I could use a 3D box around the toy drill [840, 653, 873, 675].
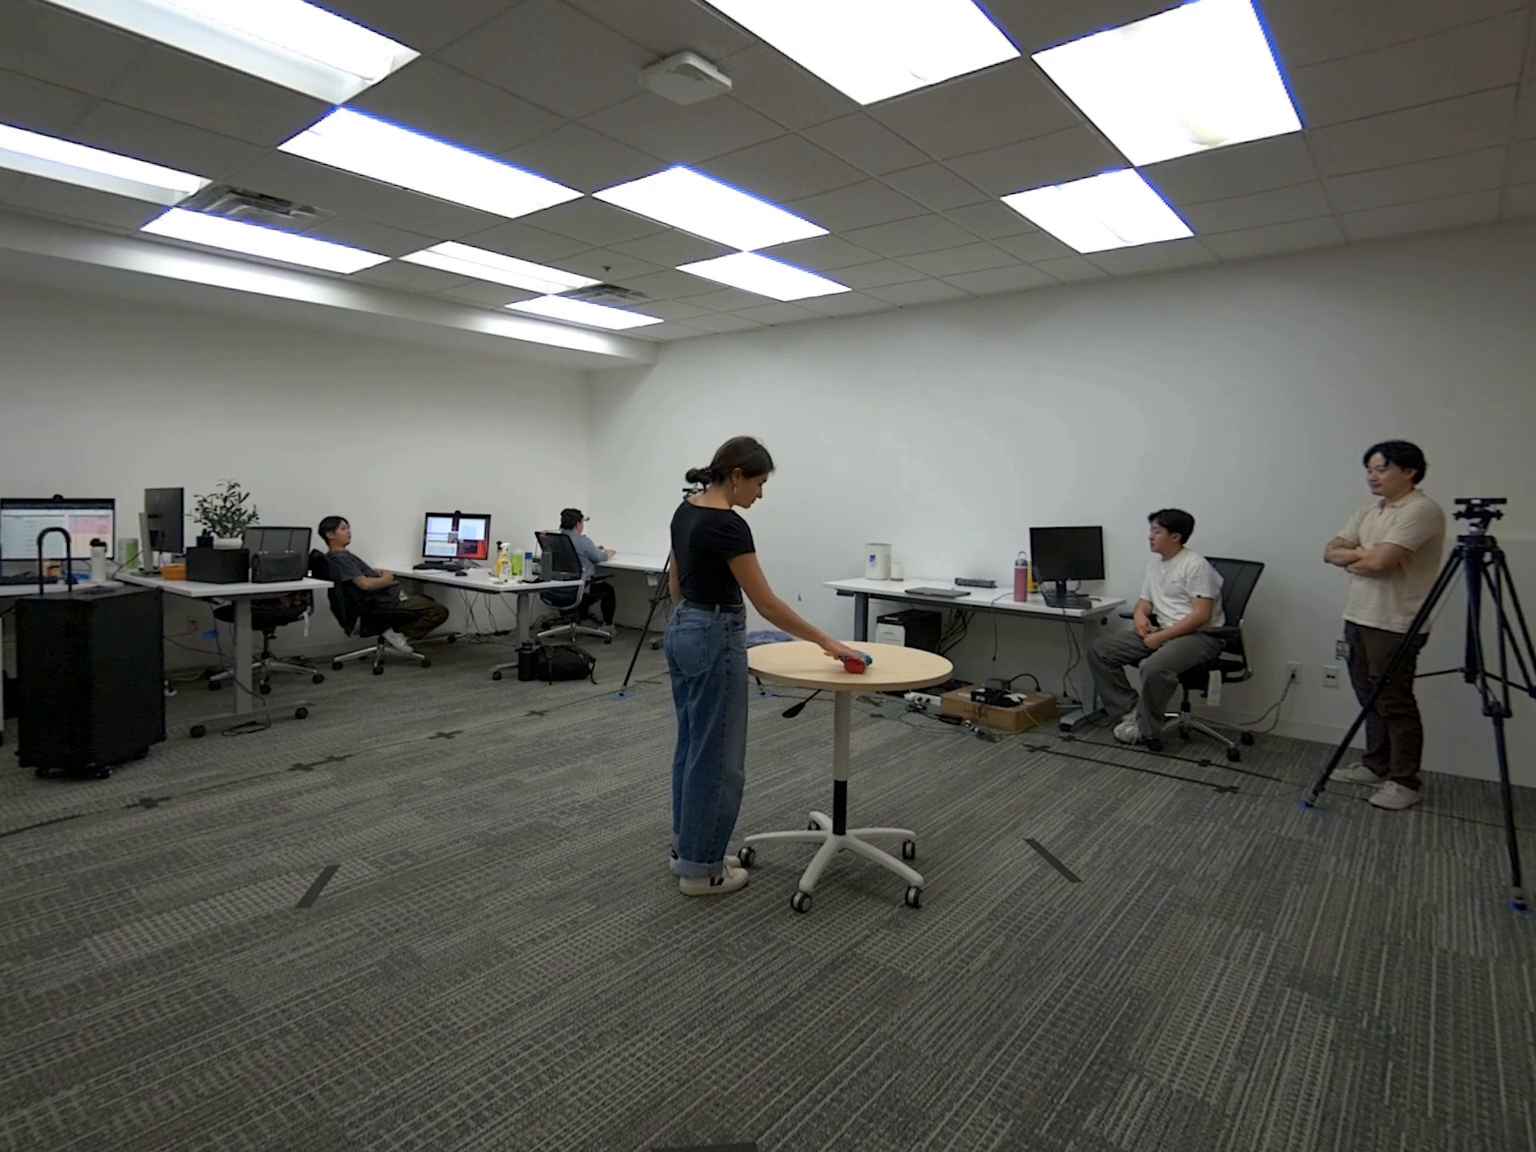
[{"bbox_3d":[0.273,0.287,2.921,0.172,0.061,0.145,7,9,11],"label":"toy drill"}]
